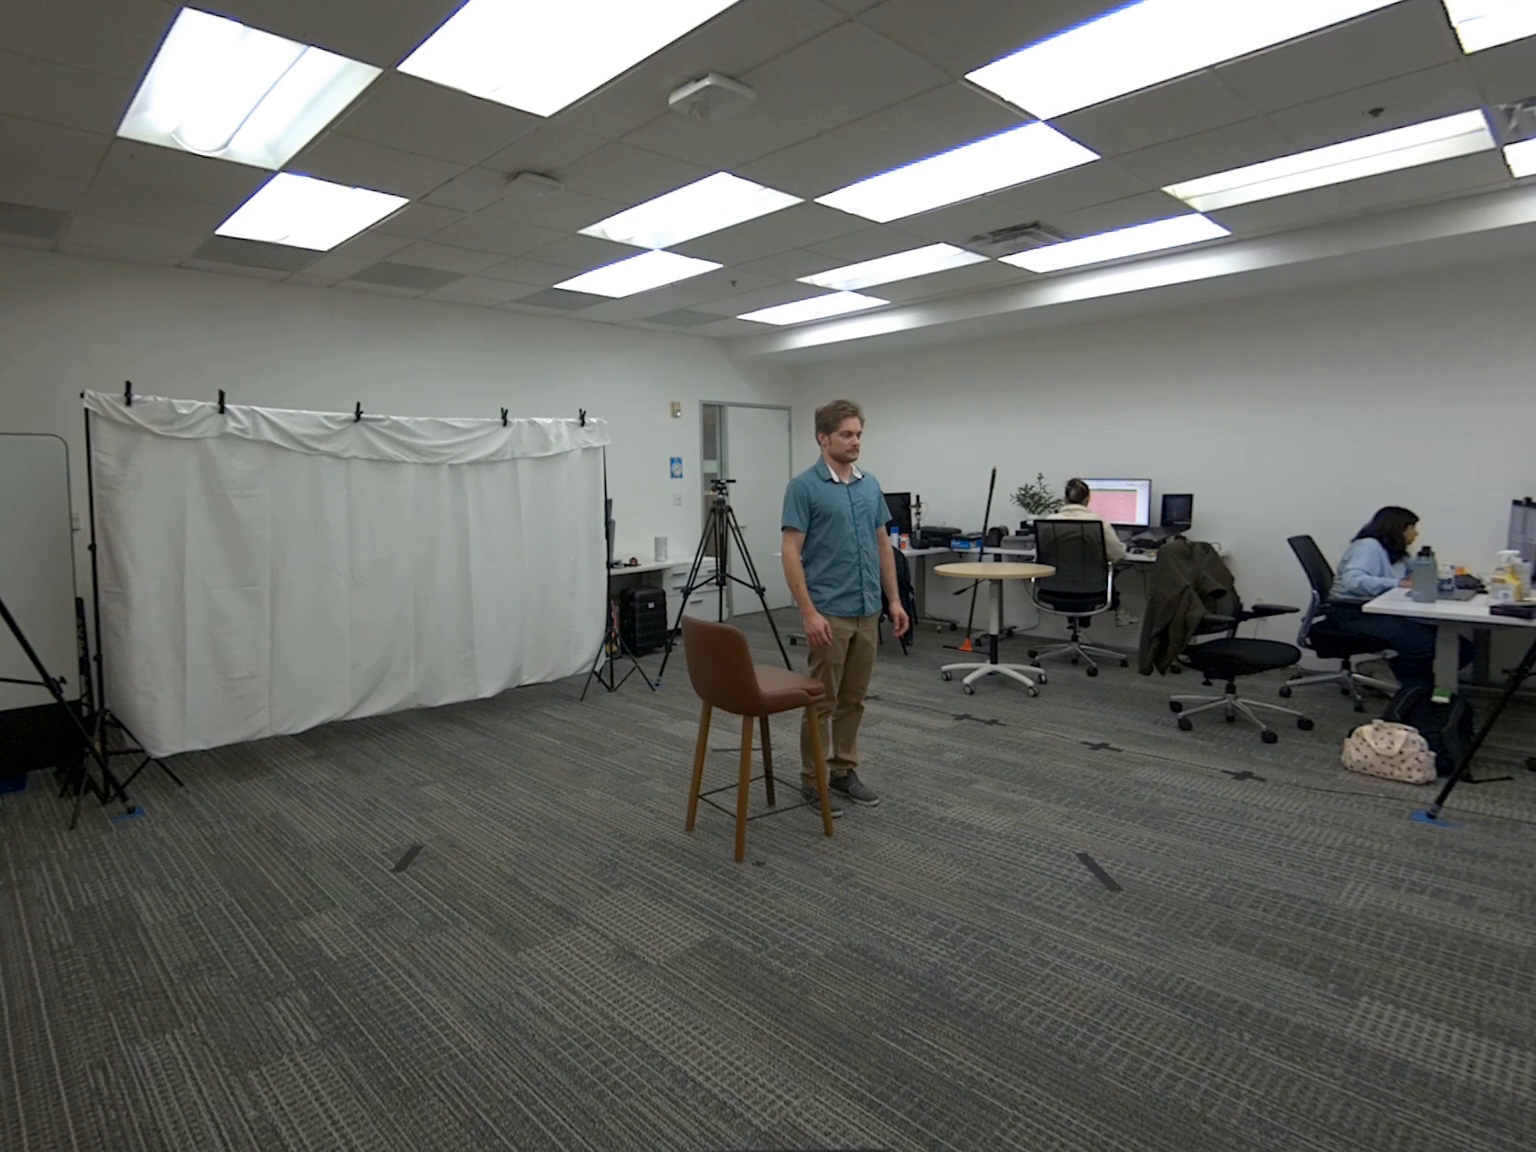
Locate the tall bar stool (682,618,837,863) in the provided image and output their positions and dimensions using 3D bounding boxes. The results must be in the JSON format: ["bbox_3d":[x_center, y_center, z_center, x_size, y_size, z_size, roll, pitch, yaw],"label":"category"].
[{"bbox_3d":[-0.053,0.583,3.358,0.456,0.885,0.470,-6,6,-35],"label":"tall bar stool"}]
